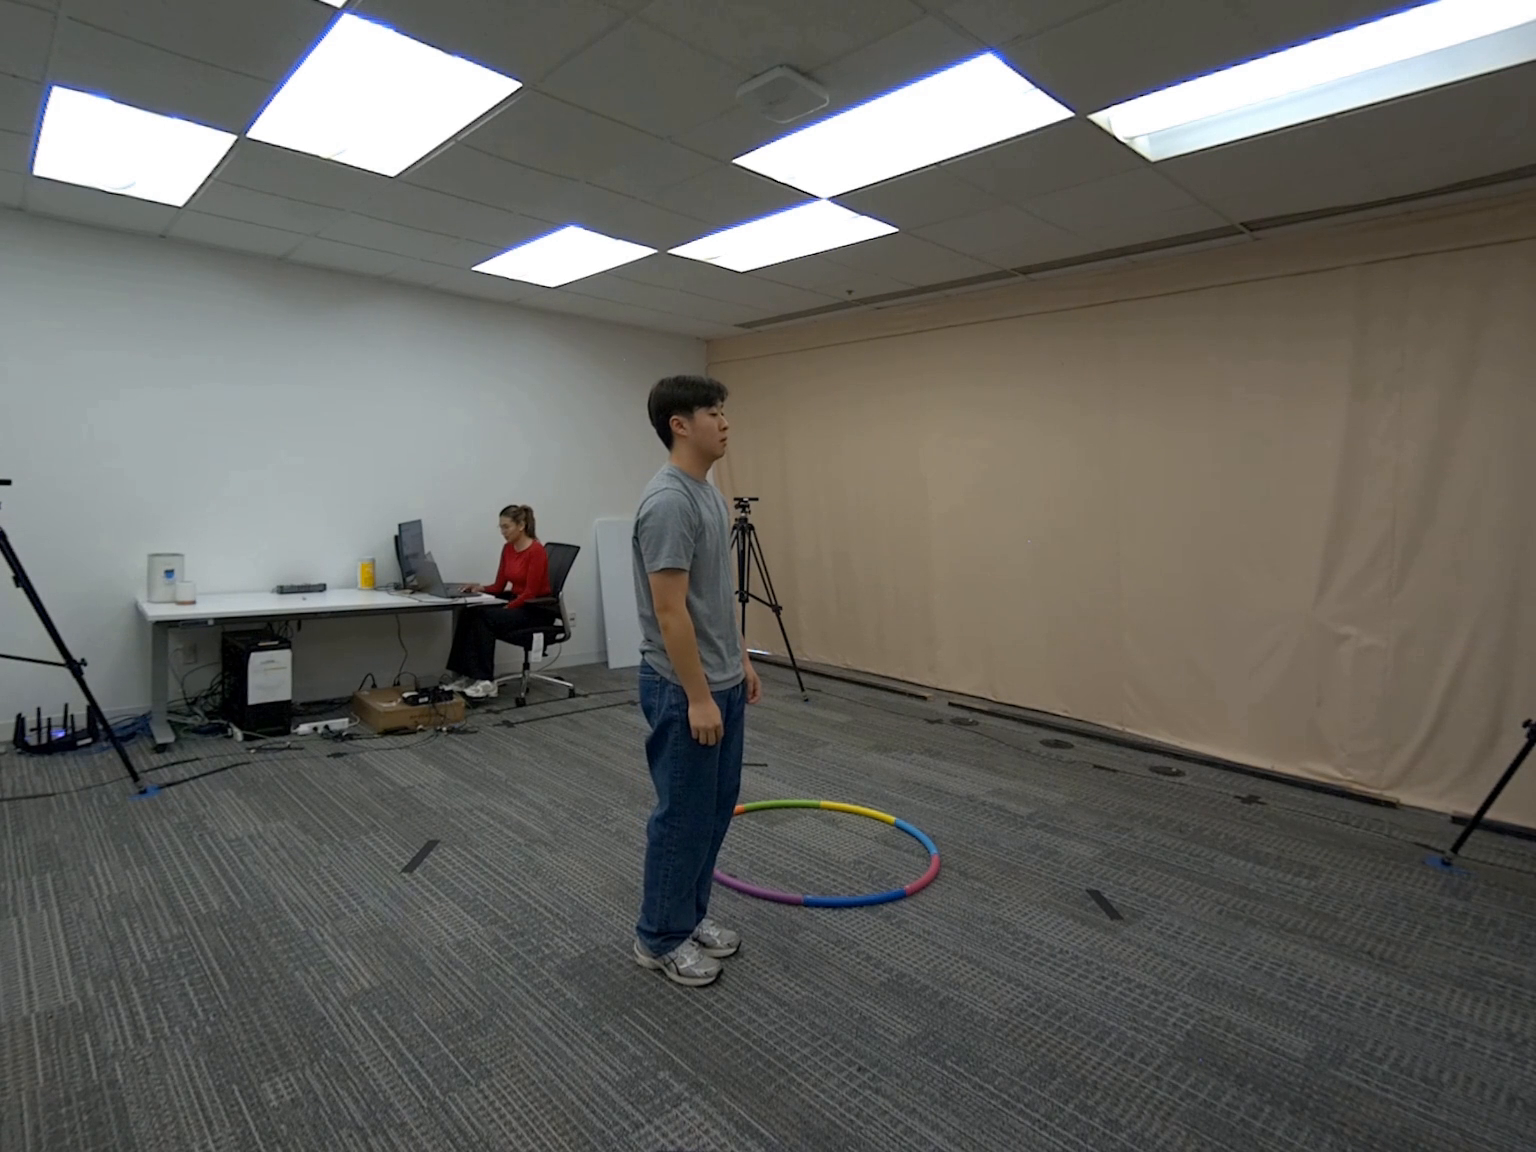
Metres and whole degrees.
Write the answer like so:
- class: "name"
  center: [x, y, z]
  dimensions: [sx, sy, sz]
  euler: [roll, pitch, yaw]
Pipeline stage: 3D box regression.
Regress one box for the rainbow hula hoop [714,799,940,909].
- class: "rainbow hula hoop"
  center: [0.161, 1.063, 3.358]
  dimensions: [0.978, 0.035, 0.982]
  euler: [2, 5, -1]
